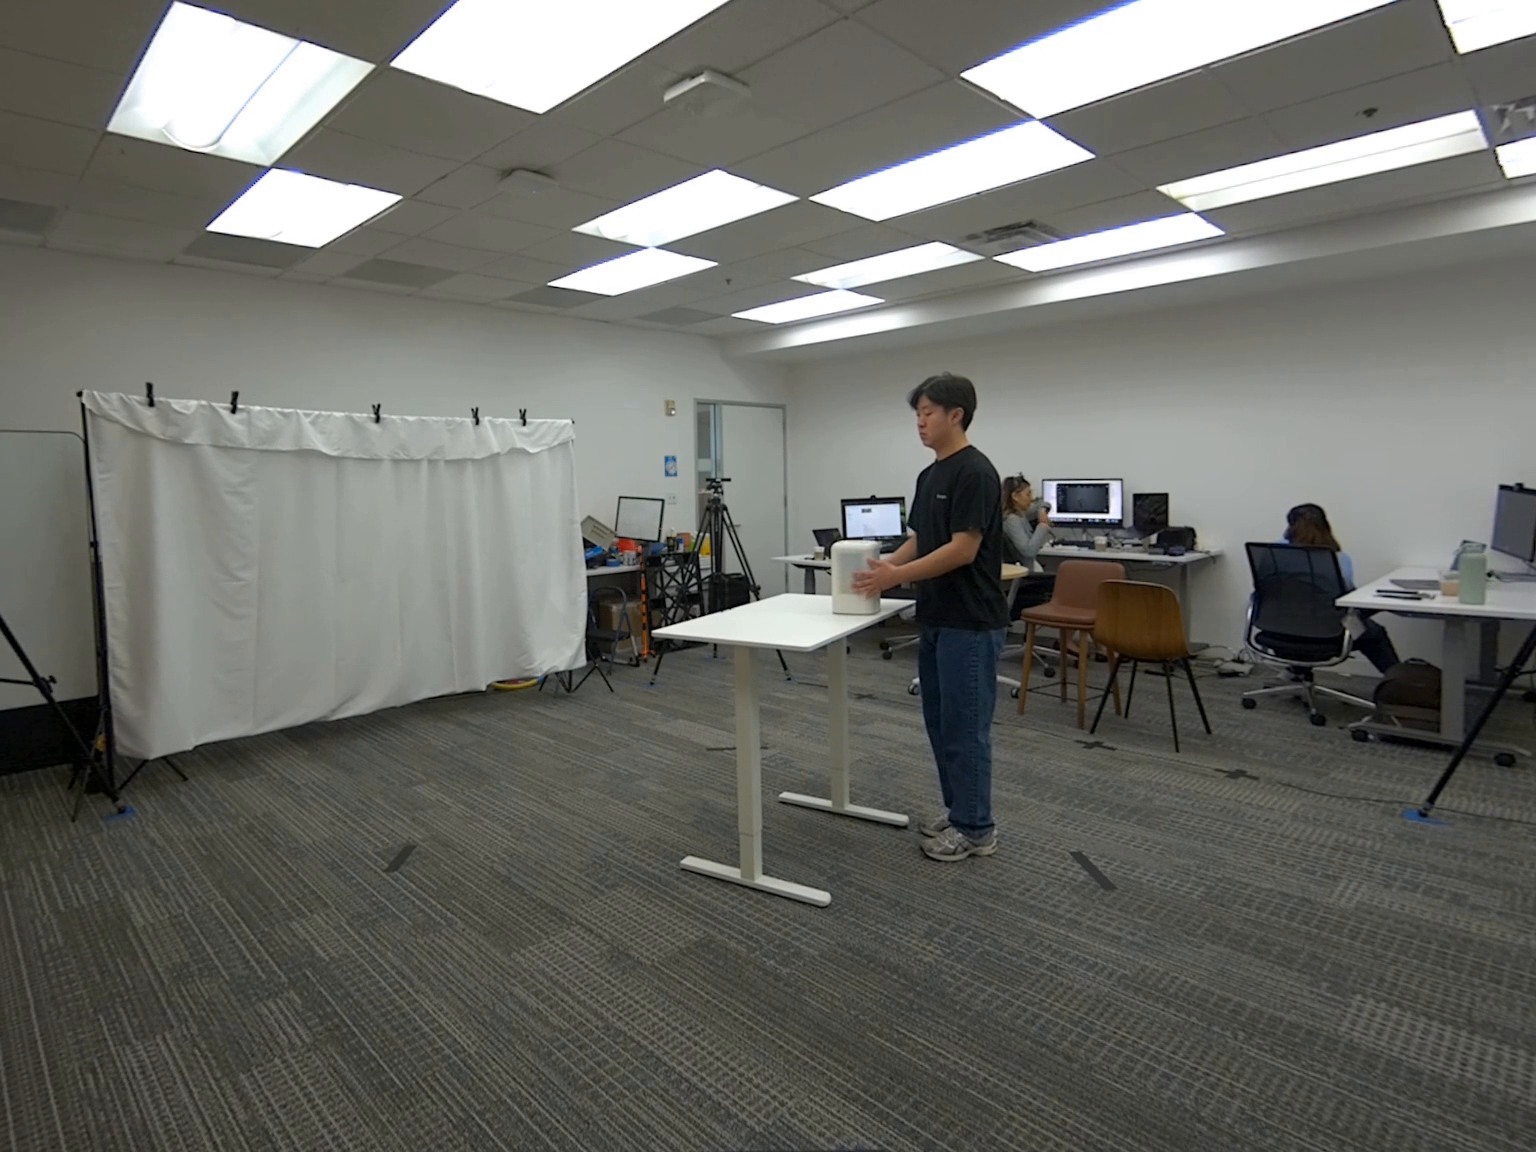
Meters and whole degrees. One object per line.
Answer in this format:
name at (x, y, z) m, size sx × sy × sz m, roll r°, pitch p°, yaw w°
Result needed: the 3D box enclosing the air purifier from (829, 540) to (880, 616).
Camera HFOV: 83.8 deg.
air purifier at (0.339, 0.001, 3.229) m, size 0.174 × 0.264 × 0.169 m, roll 0°, pitch 5°, yaw 18°
